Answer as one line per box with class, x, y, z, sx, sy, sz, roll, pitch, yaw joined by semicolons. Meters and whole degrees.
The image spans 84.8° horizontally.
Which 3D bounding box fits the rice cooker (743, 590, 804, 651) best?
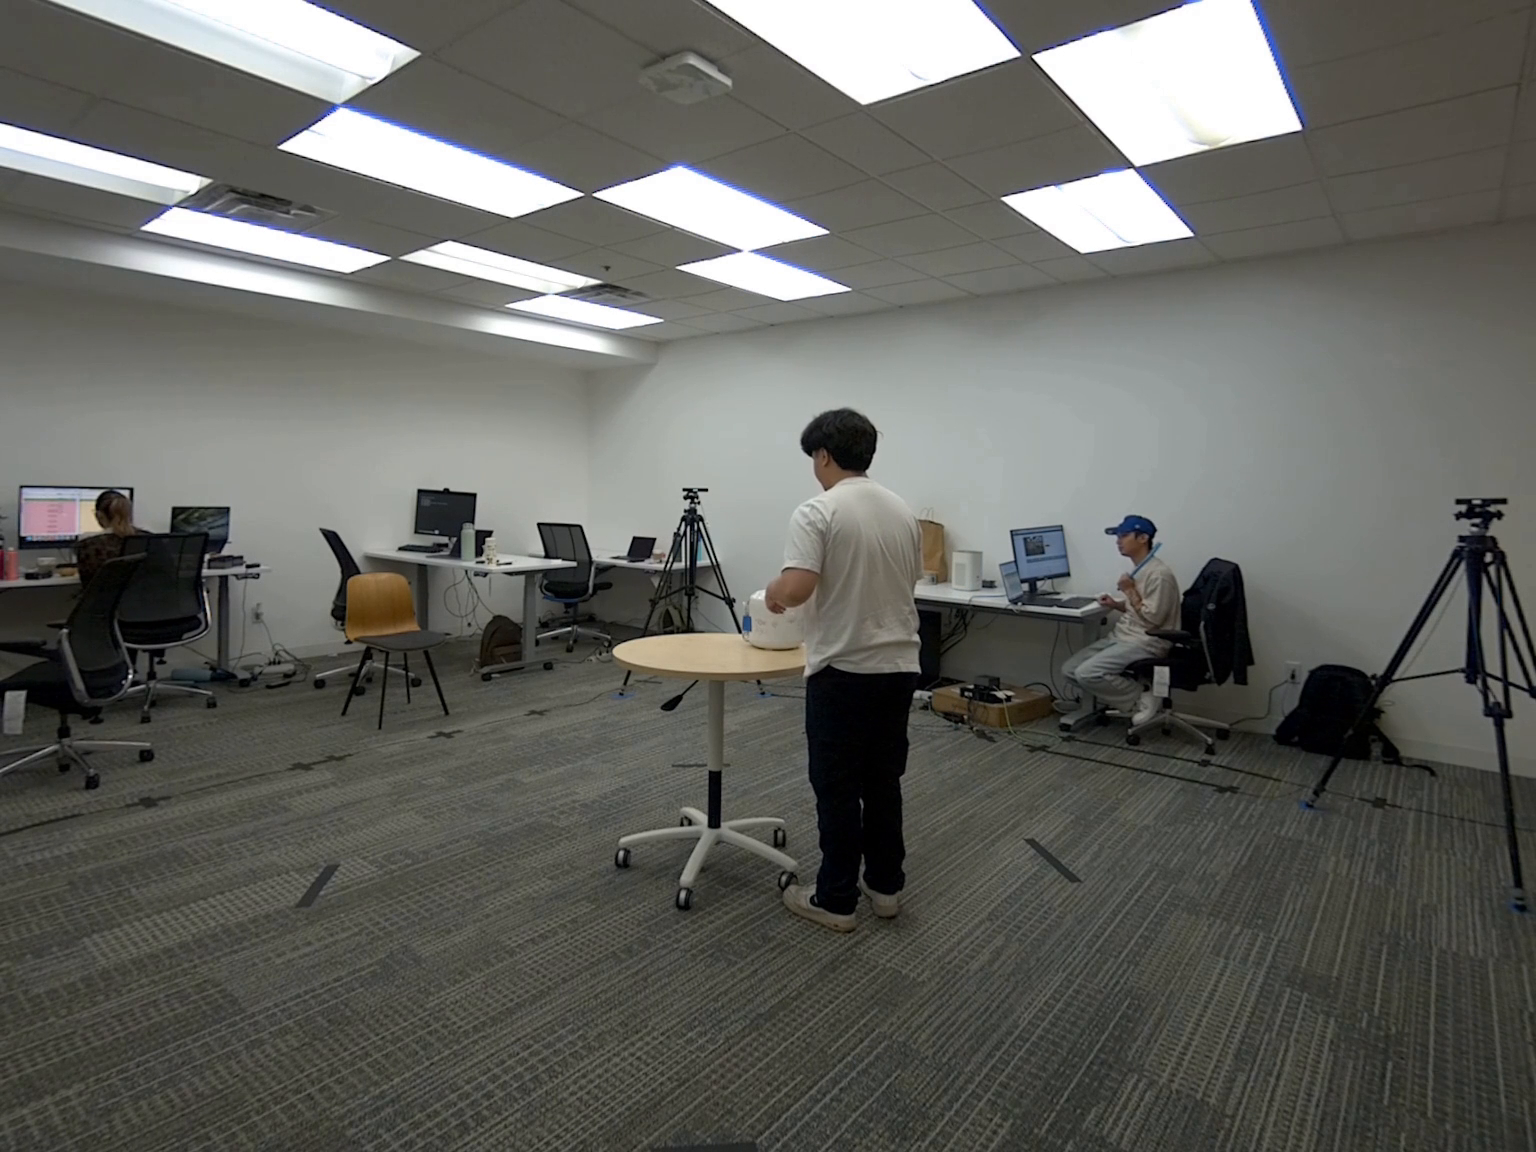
rice cooker;0.025;0.147;3.224;0.212;0.232;0.227;-2;6;-28
